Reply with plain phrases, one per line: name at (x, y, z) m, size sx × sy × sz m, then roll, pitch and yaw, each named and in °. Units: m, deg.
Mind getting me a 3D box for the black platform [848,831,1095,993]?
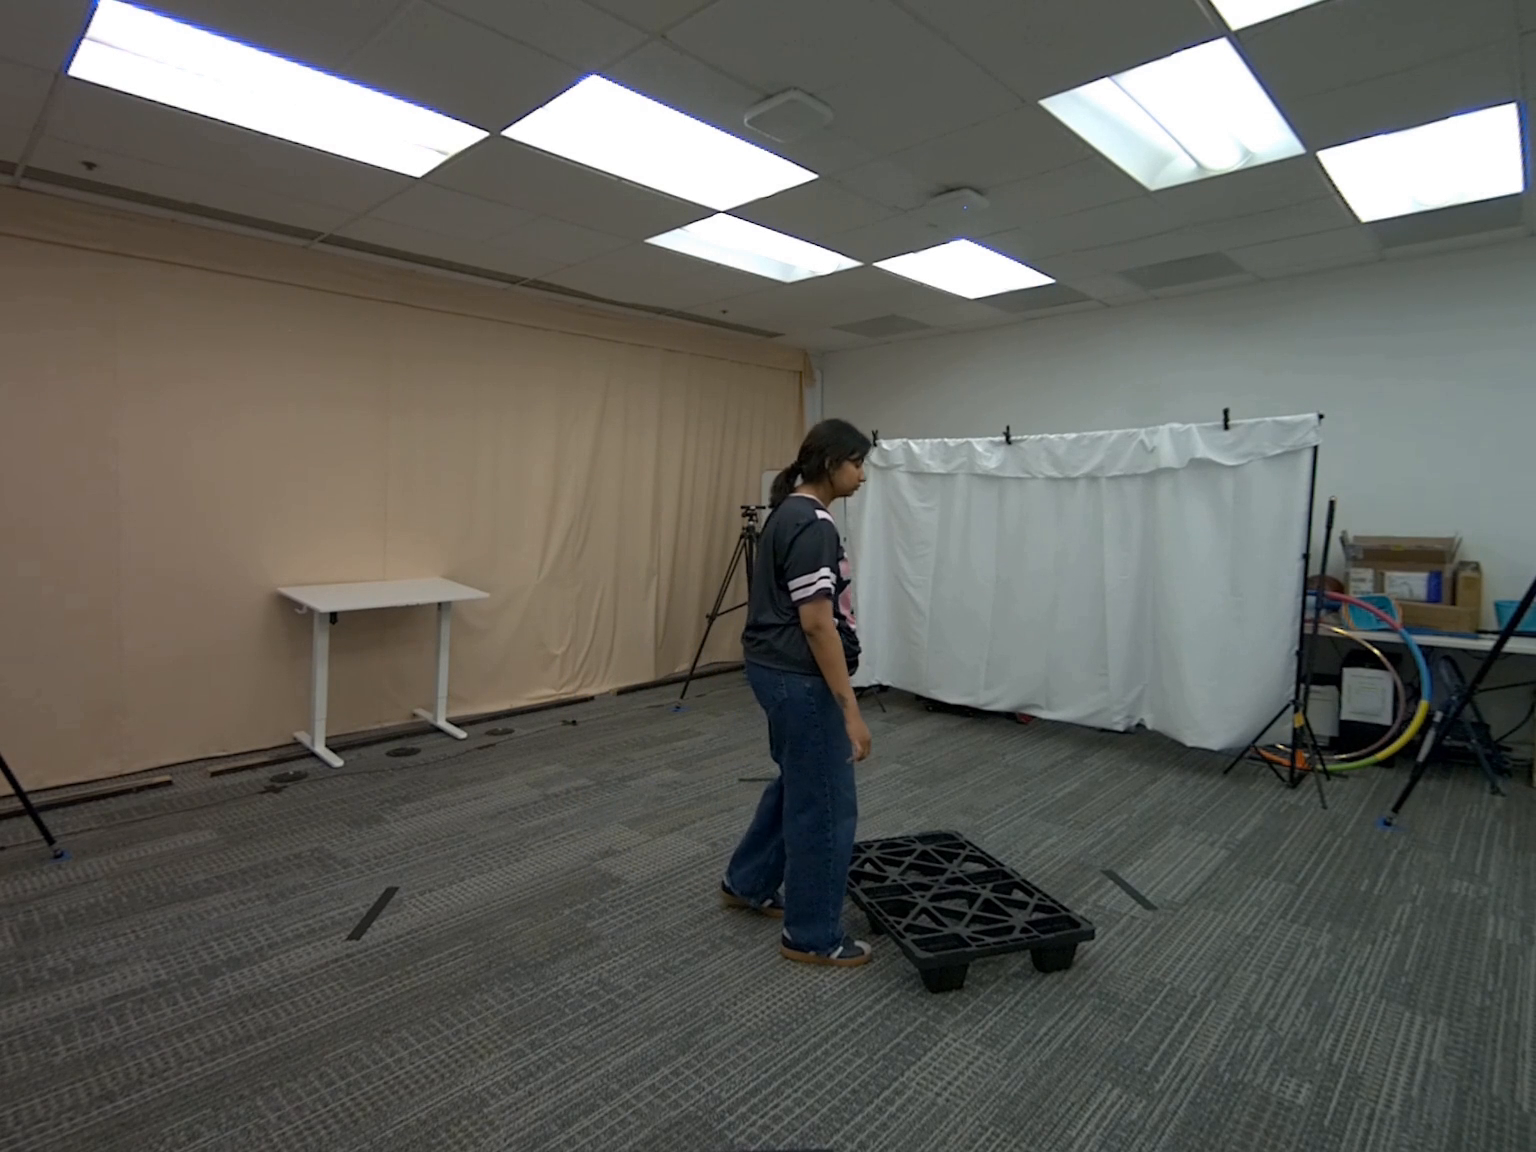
black platform at (0.567, 1.084, 2.807) m, size 0.595 × 0.143 × 0.821 m, roll -2°, pitch 5°, yaw -17°
